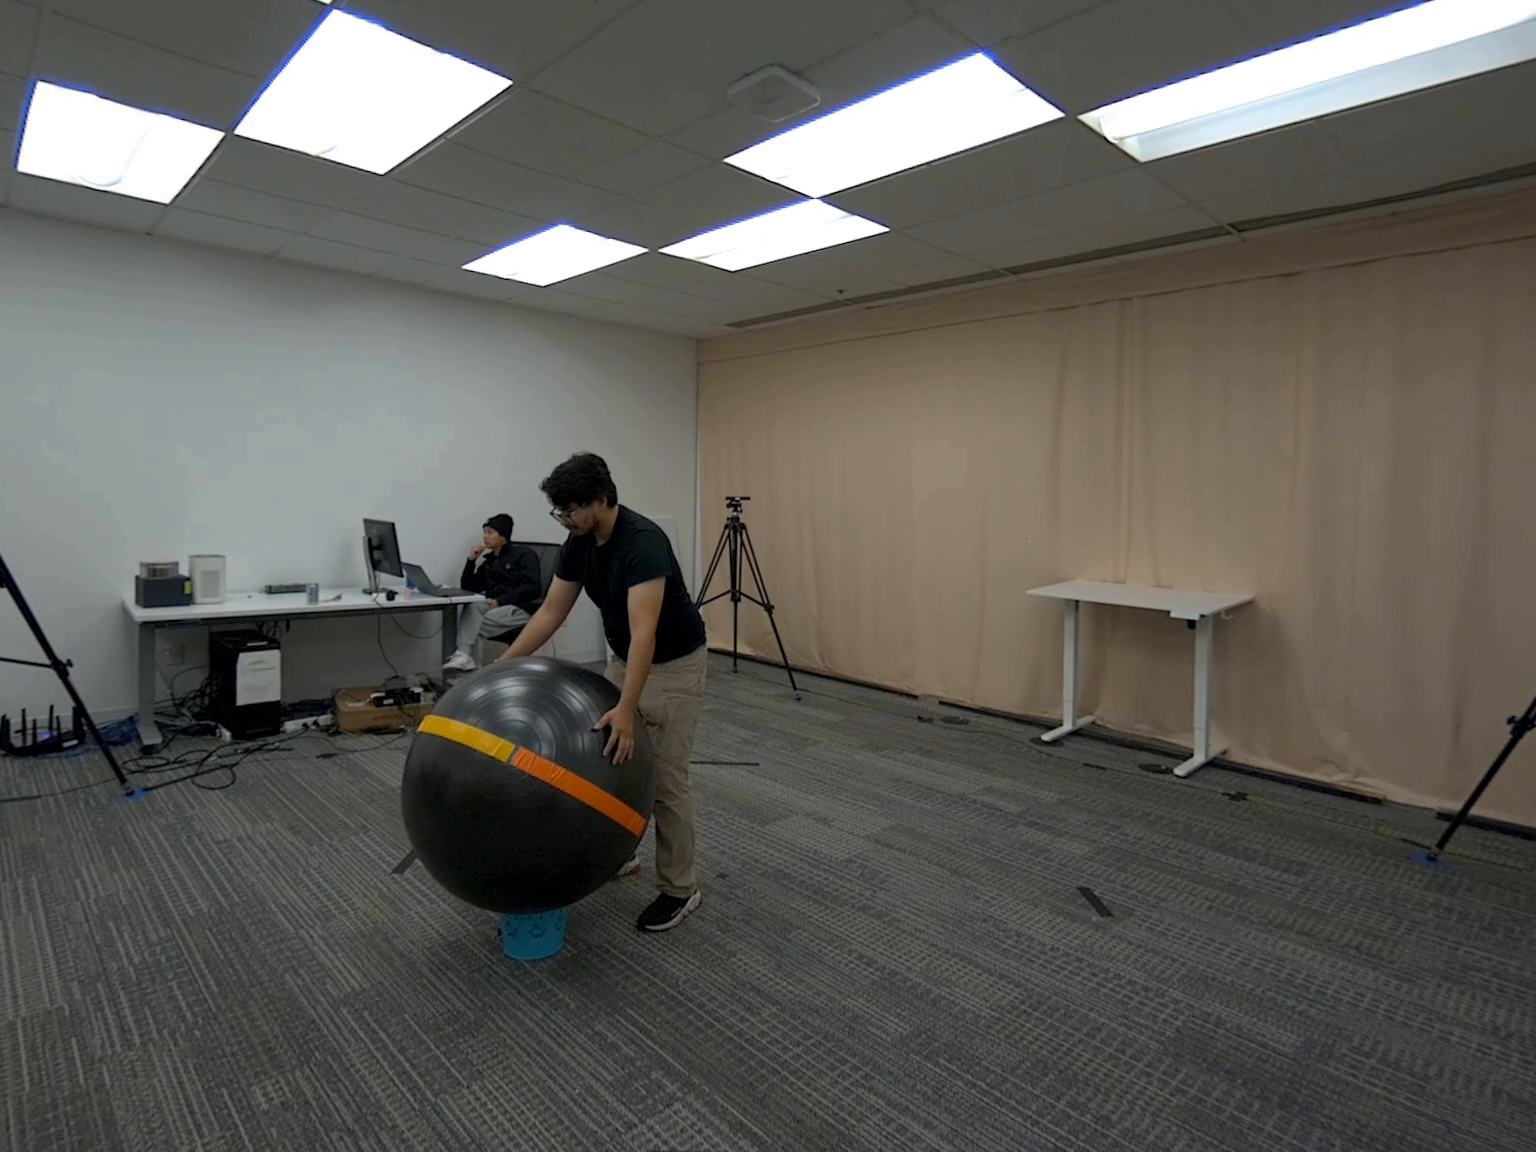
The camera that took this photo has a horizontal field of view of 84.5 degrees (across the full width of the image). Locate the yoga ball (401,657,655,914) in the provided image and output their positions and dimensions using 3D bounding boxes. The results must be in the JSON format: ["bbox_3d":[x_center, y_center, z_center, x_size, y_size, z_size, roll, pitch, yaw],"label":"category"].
[{"bbox_3d":[-0.729,0.636,2.590,0.757,0.756,0.761,1,4,-1],"label":"yoga ball"}]
